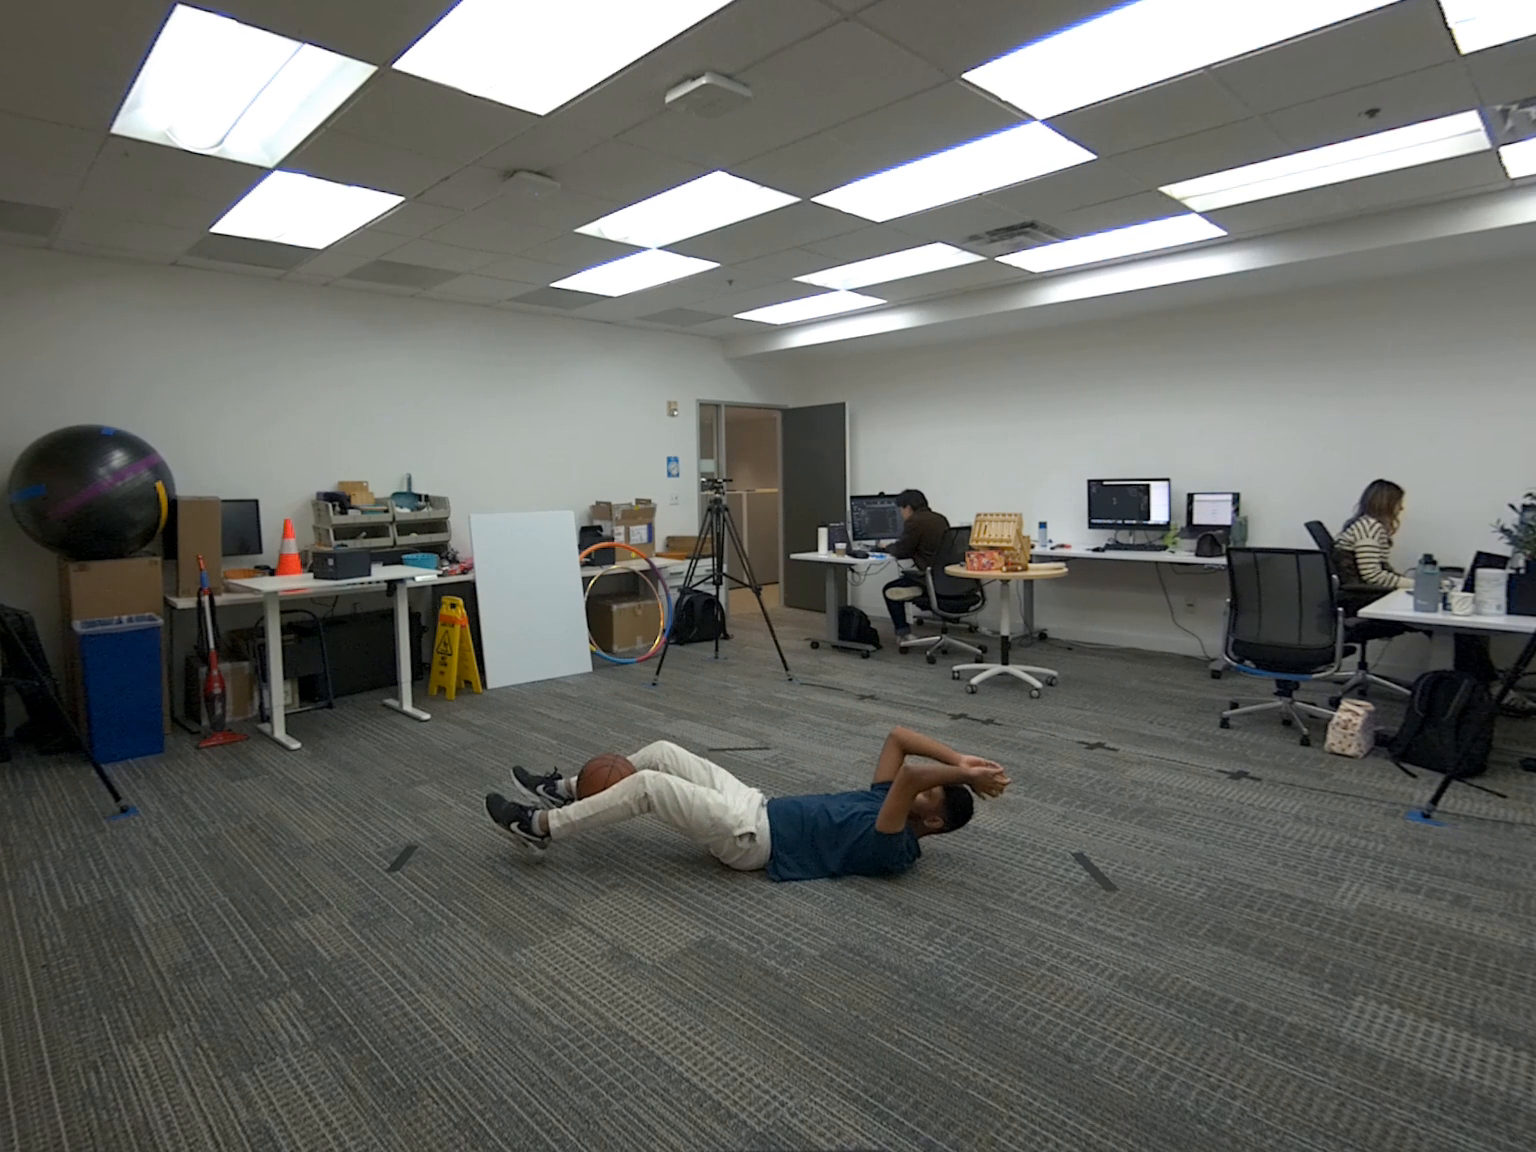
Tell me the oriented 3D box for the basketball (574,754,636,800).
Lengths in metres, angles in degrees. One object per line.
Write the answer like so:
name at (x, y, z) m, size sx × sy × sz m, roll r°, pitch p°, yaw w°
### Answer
basketball at (-0.602, 0.788, 3.216) m, size 0.236 × 0.235 × 0.237 m, roll -1°, pitch 5°, yaw -2°
